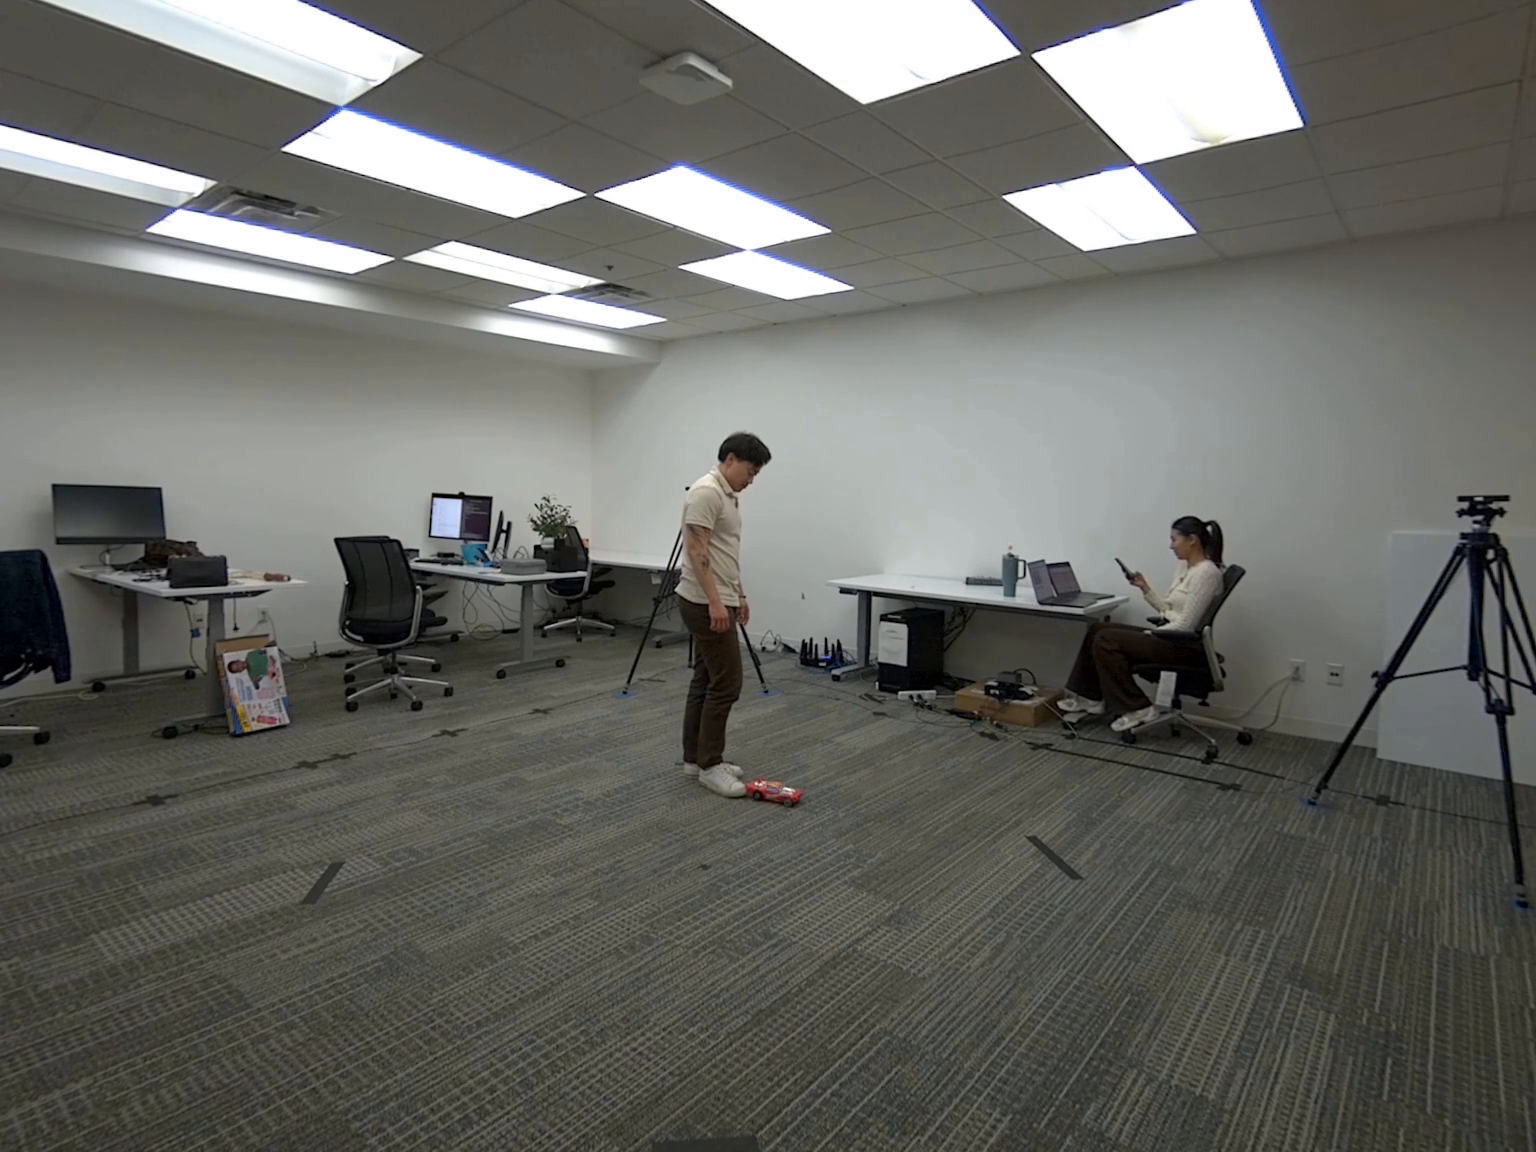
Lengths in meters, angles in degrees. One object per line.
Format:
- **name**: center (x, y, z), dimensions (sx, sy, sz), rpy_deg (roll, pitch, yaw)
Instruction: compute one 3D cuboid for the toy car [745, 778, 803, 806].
- **toy car**: center (0.008, 0.967, 3.818), dimensions (0.262, 0.083, 0.127), rpy_deg (15, 10, 24)
